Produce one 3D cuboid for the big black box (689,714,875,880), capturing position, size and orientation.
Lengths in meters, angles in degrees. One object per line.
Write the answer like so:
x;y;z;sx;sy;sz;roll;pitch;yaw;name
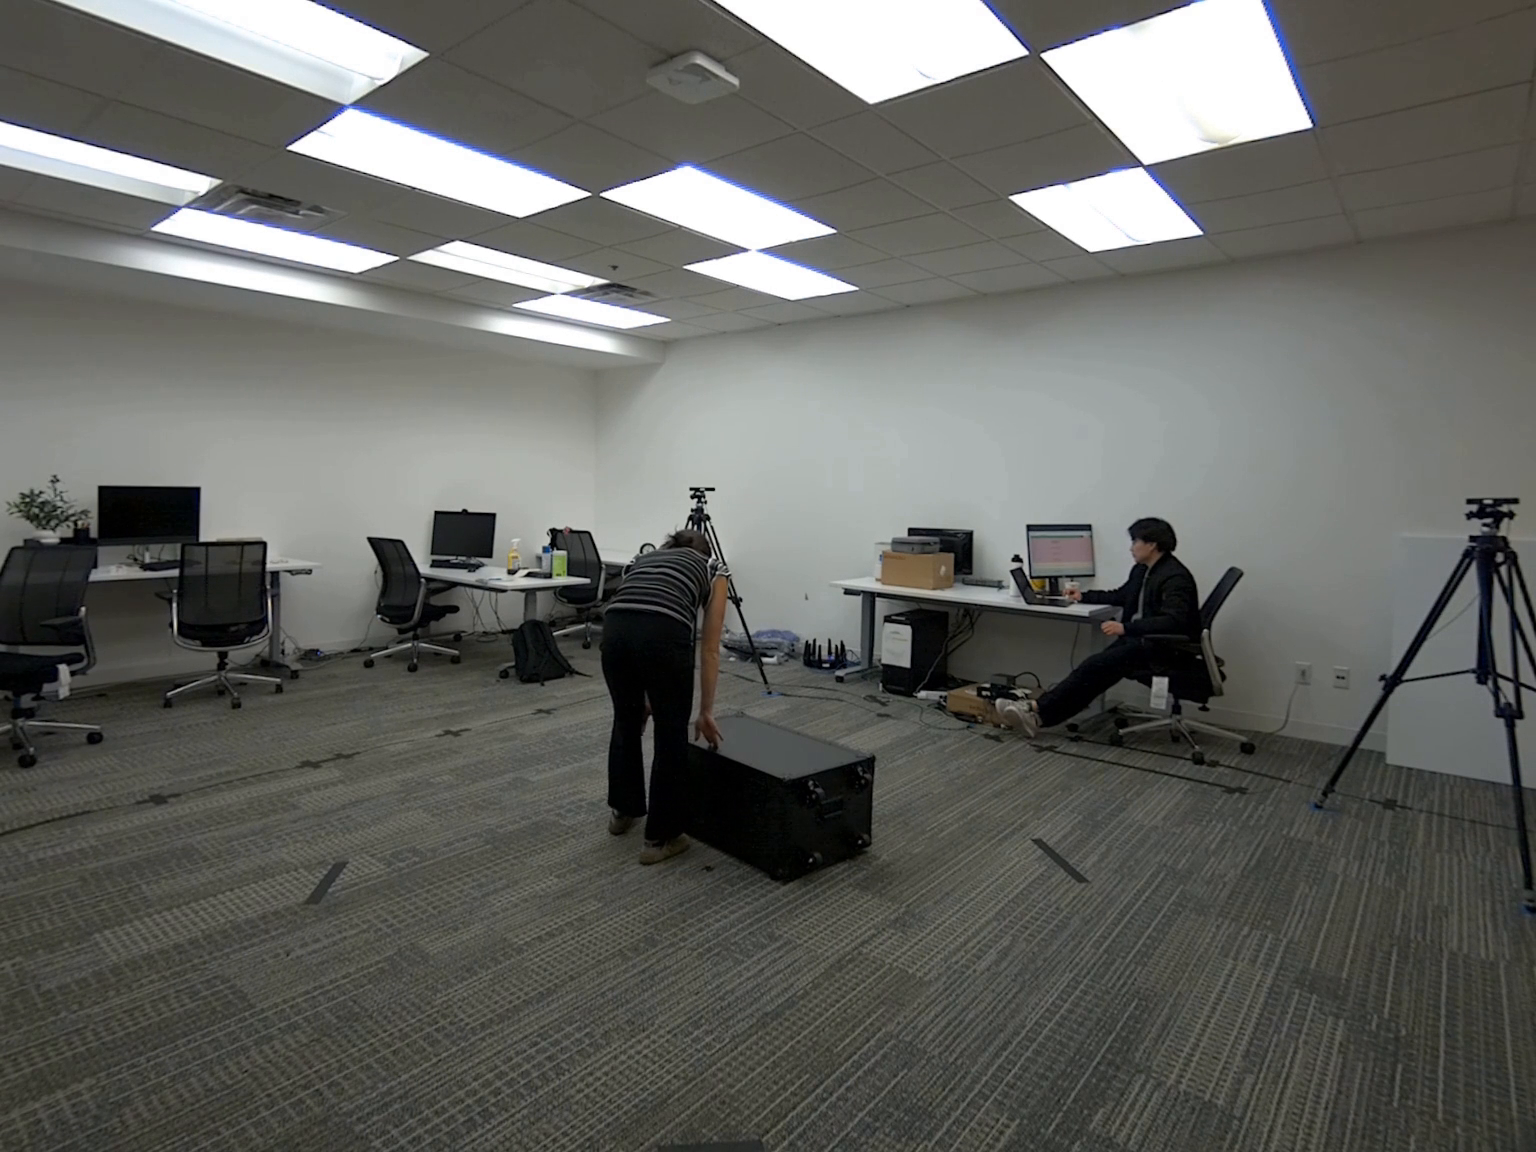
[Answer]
-0.023;0.854;3.396;0.505;0.395;0.891;-3;6;-42;big black box
